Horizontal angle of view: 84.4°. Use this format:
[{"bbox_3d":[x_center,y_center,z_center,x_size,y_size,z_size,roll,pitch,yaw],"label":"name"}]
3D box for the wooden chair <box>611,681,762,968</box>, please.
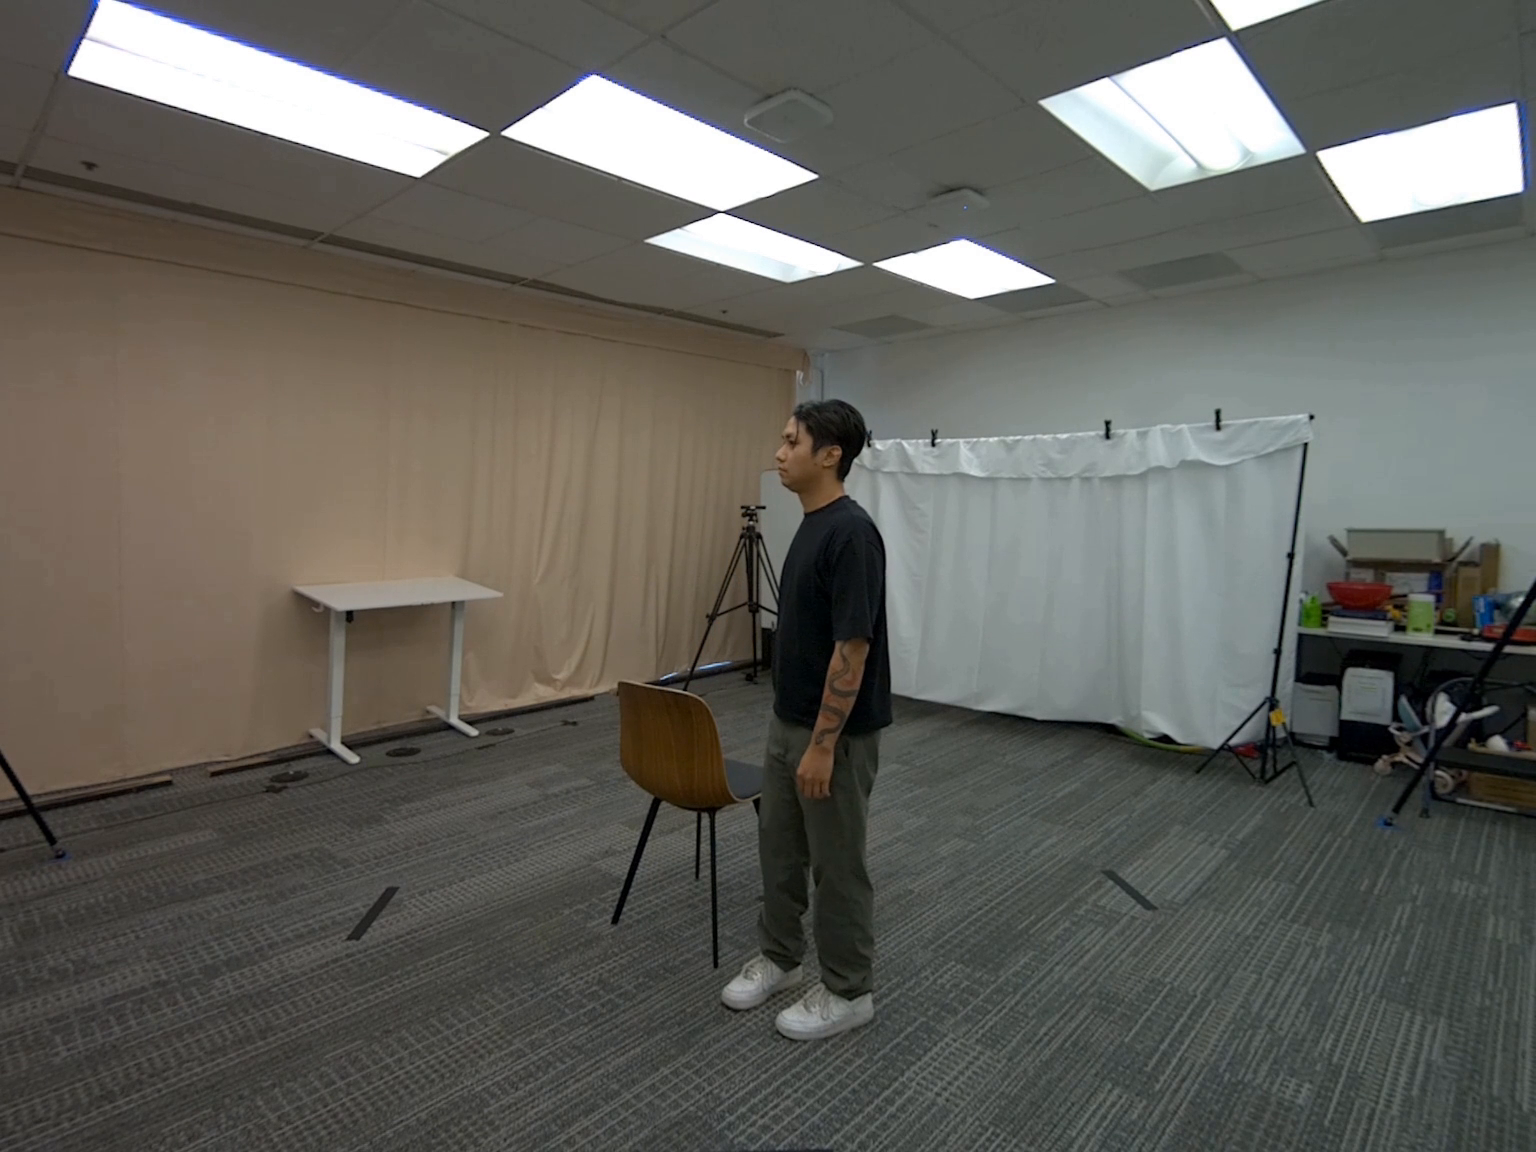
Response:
[{"bbox_3d":[-0.208,0.731,2.828,0.493,0.873,0.509,2,8,36],"label":"wooden chair"}]
